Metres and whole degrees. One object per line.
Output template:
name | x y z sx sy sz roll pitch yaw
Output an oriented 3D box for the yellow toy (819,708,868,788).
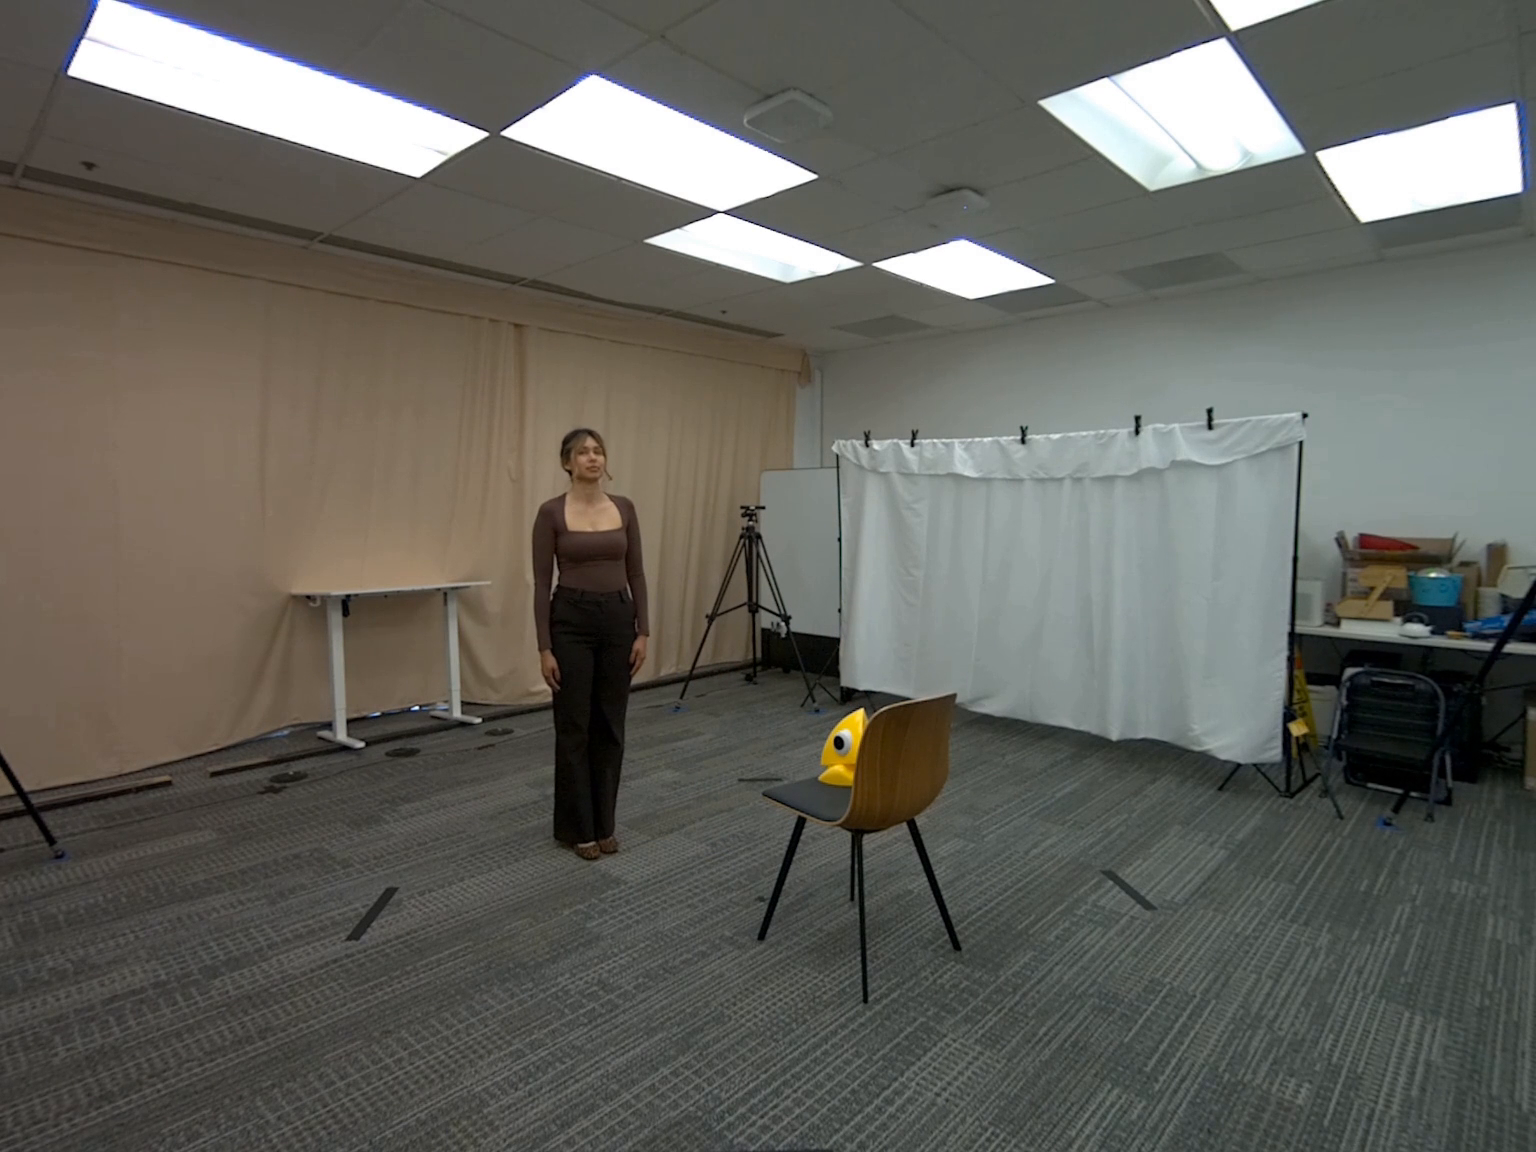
yellow toy | 0.270 0.558 2.822 0.197 0.229 0.201 -1 8 19
